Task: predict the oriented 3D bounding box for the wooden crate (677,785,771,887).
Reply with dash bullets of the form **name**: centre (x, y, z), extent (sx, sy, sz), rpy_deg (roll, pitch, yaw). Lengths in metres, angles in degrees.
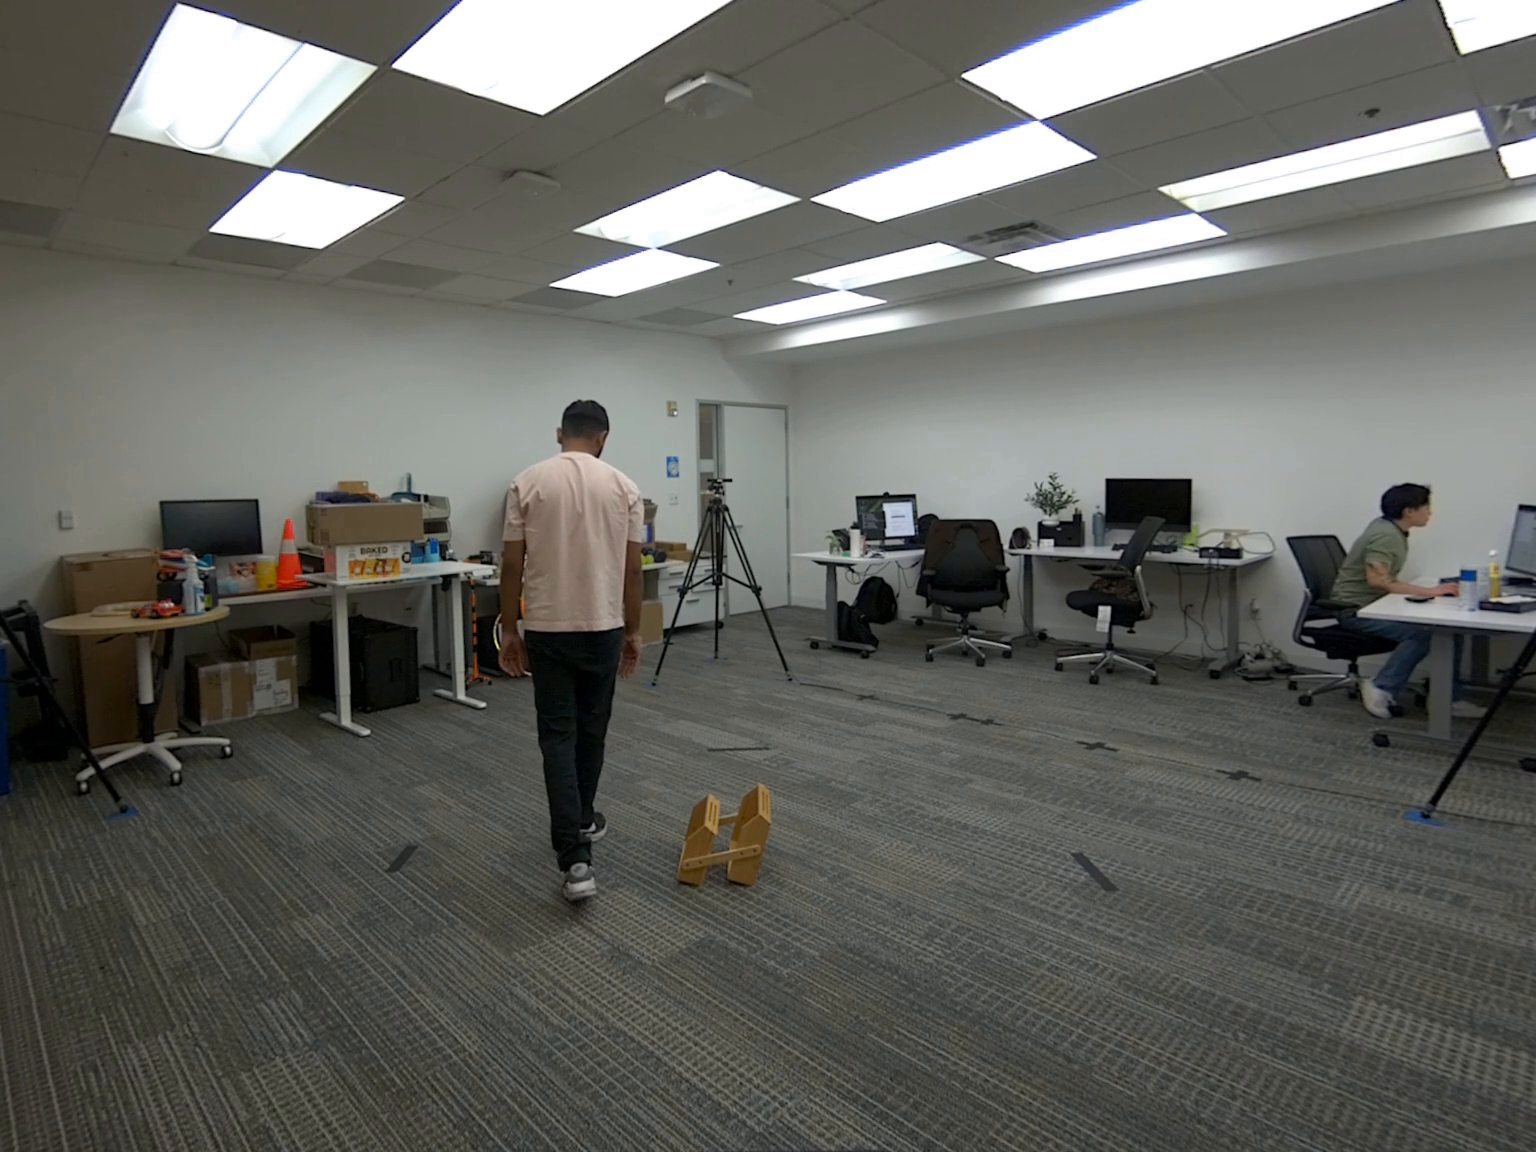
- **wooden crate**: centre (-0.158, 0.913, 3.083), extent (0.273, 0.301, 0.325), rpy_deg (16, 4, -2)
